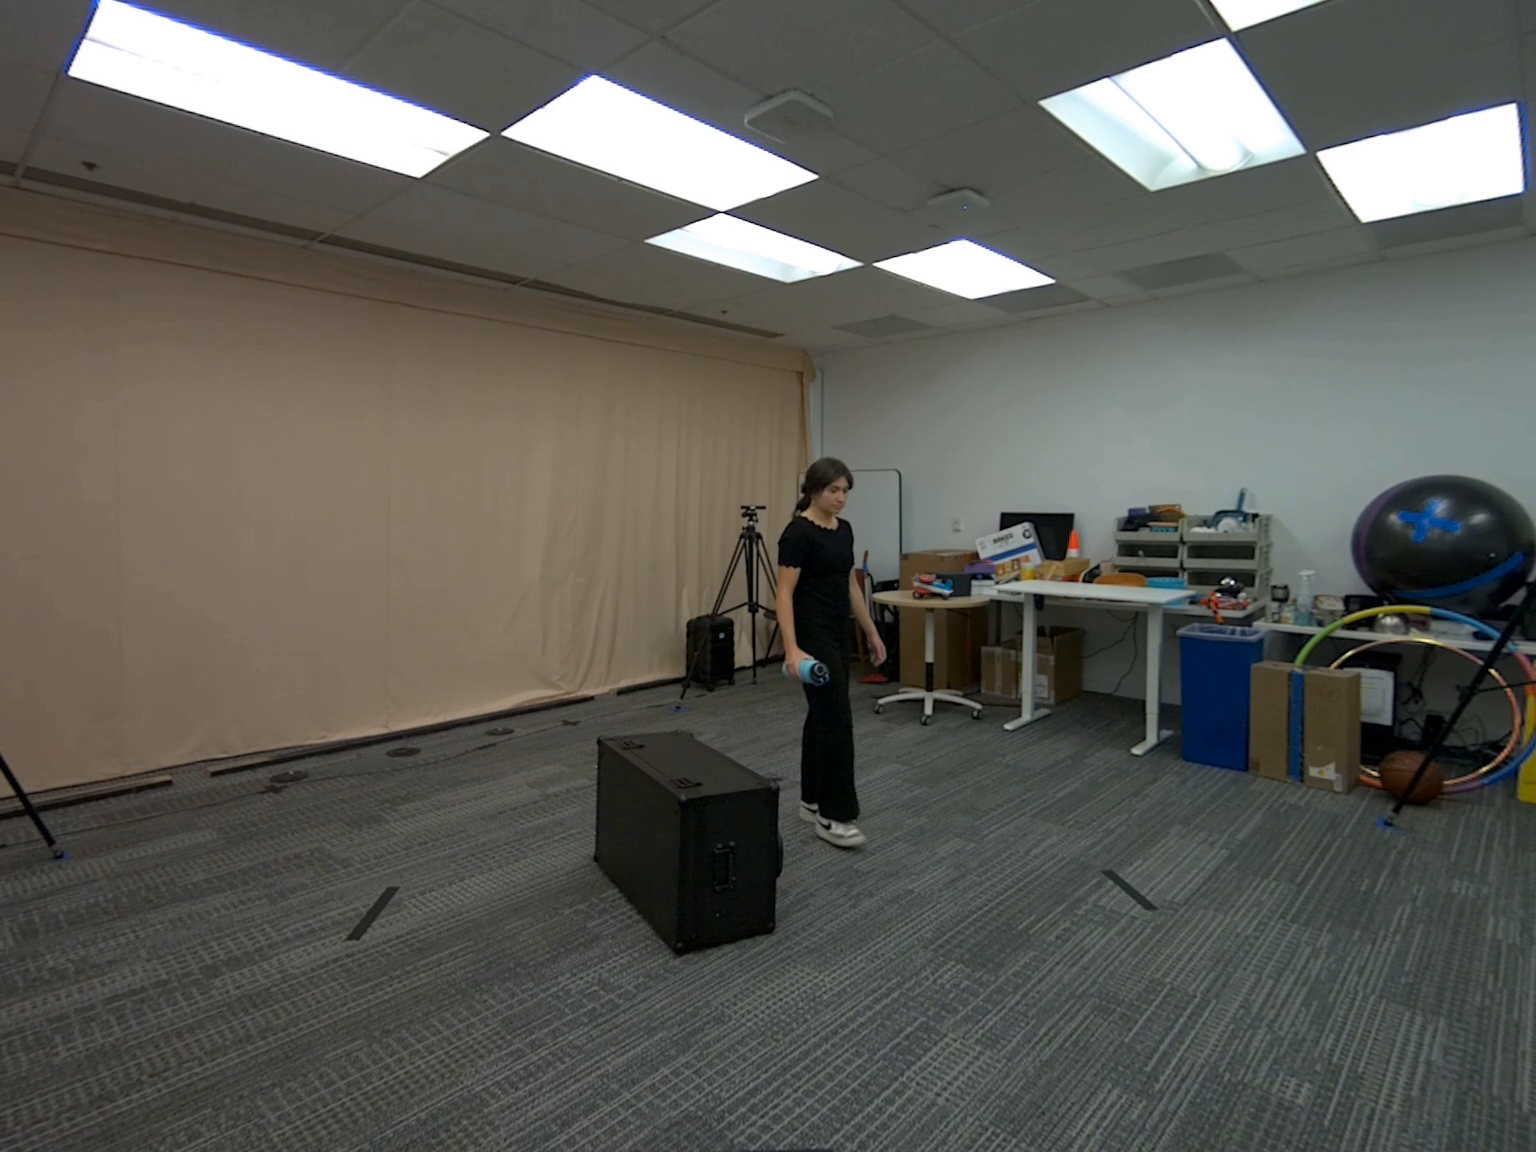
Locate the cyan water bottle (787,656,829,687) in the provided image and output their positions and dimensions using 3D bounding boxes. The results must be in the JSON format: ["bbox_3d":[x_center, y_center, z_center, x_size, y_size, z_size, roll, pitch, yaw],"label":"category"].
[{"bbox_3d":[0.157,0.373,3.351,0.091,0.092,0.288,-1,-1,-17],"label":"cyan water bottle"}]
